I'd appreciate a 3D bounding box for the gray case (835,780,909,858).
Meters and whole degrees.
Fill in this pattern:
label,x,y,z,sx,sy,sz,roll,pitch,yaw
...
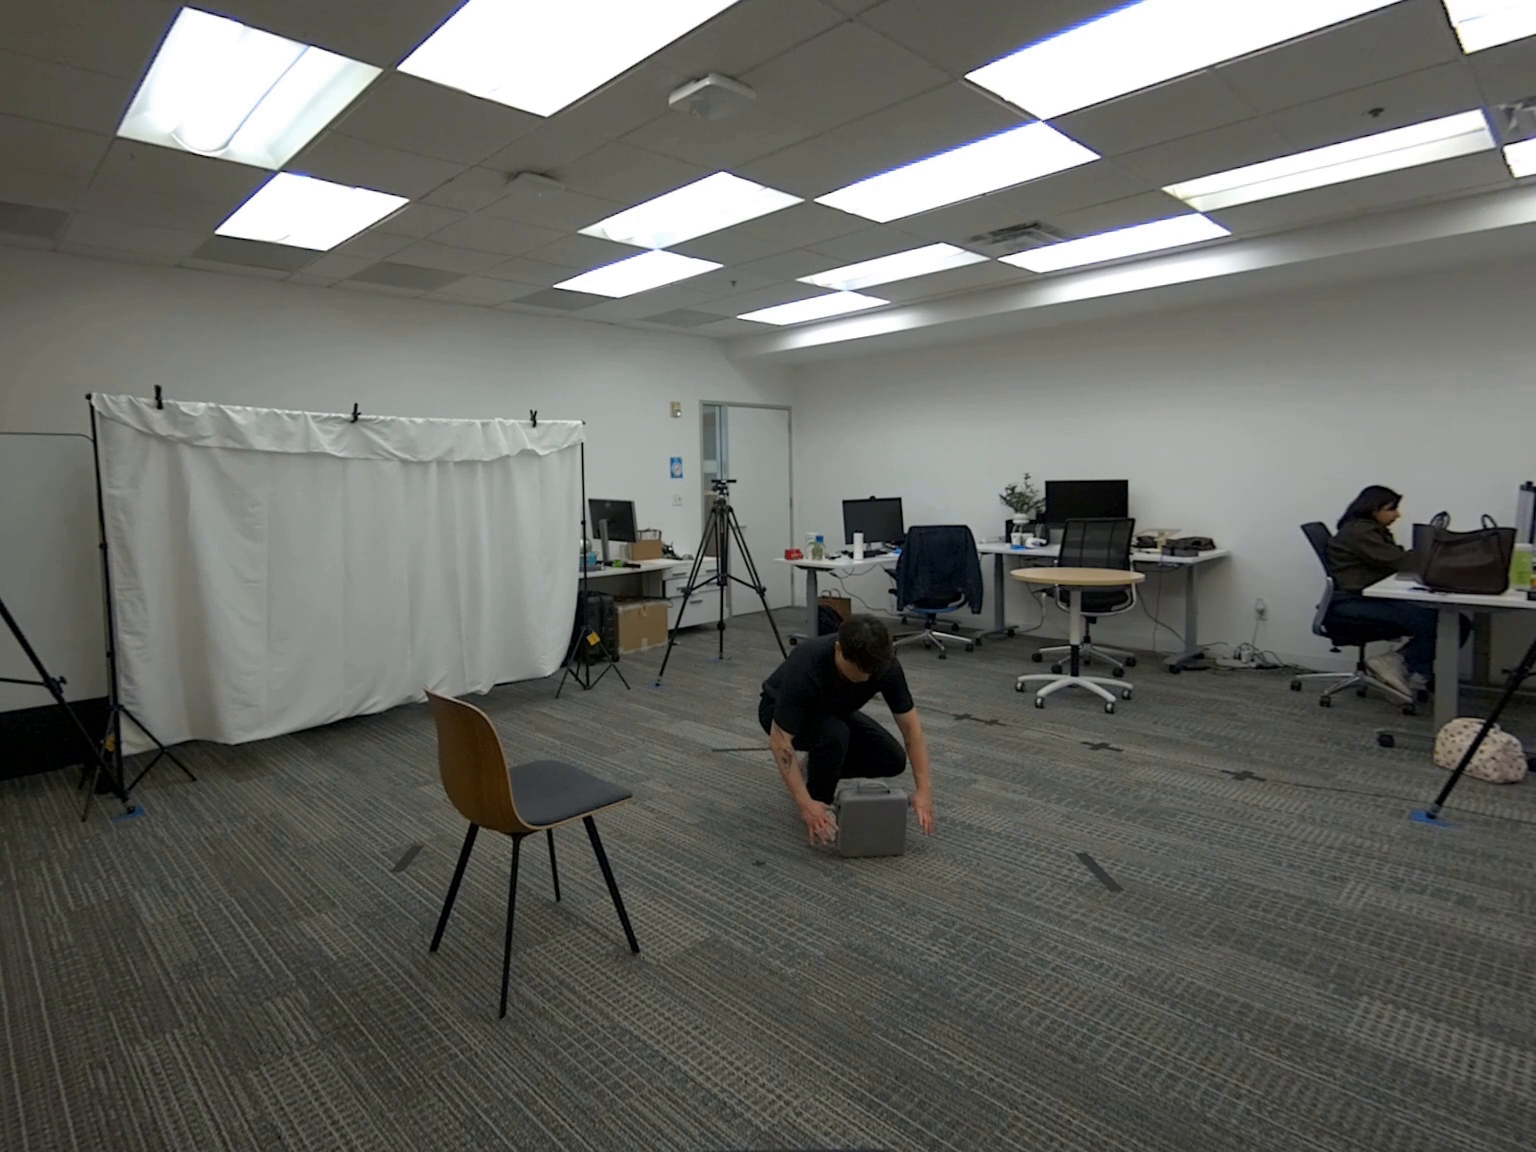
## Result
label,x,y,z,sx,sy,sz,roll,pitch,yaw
gray case,0.384,0.906,3.154,0.256,0.257,0.106,-1,15,-3
